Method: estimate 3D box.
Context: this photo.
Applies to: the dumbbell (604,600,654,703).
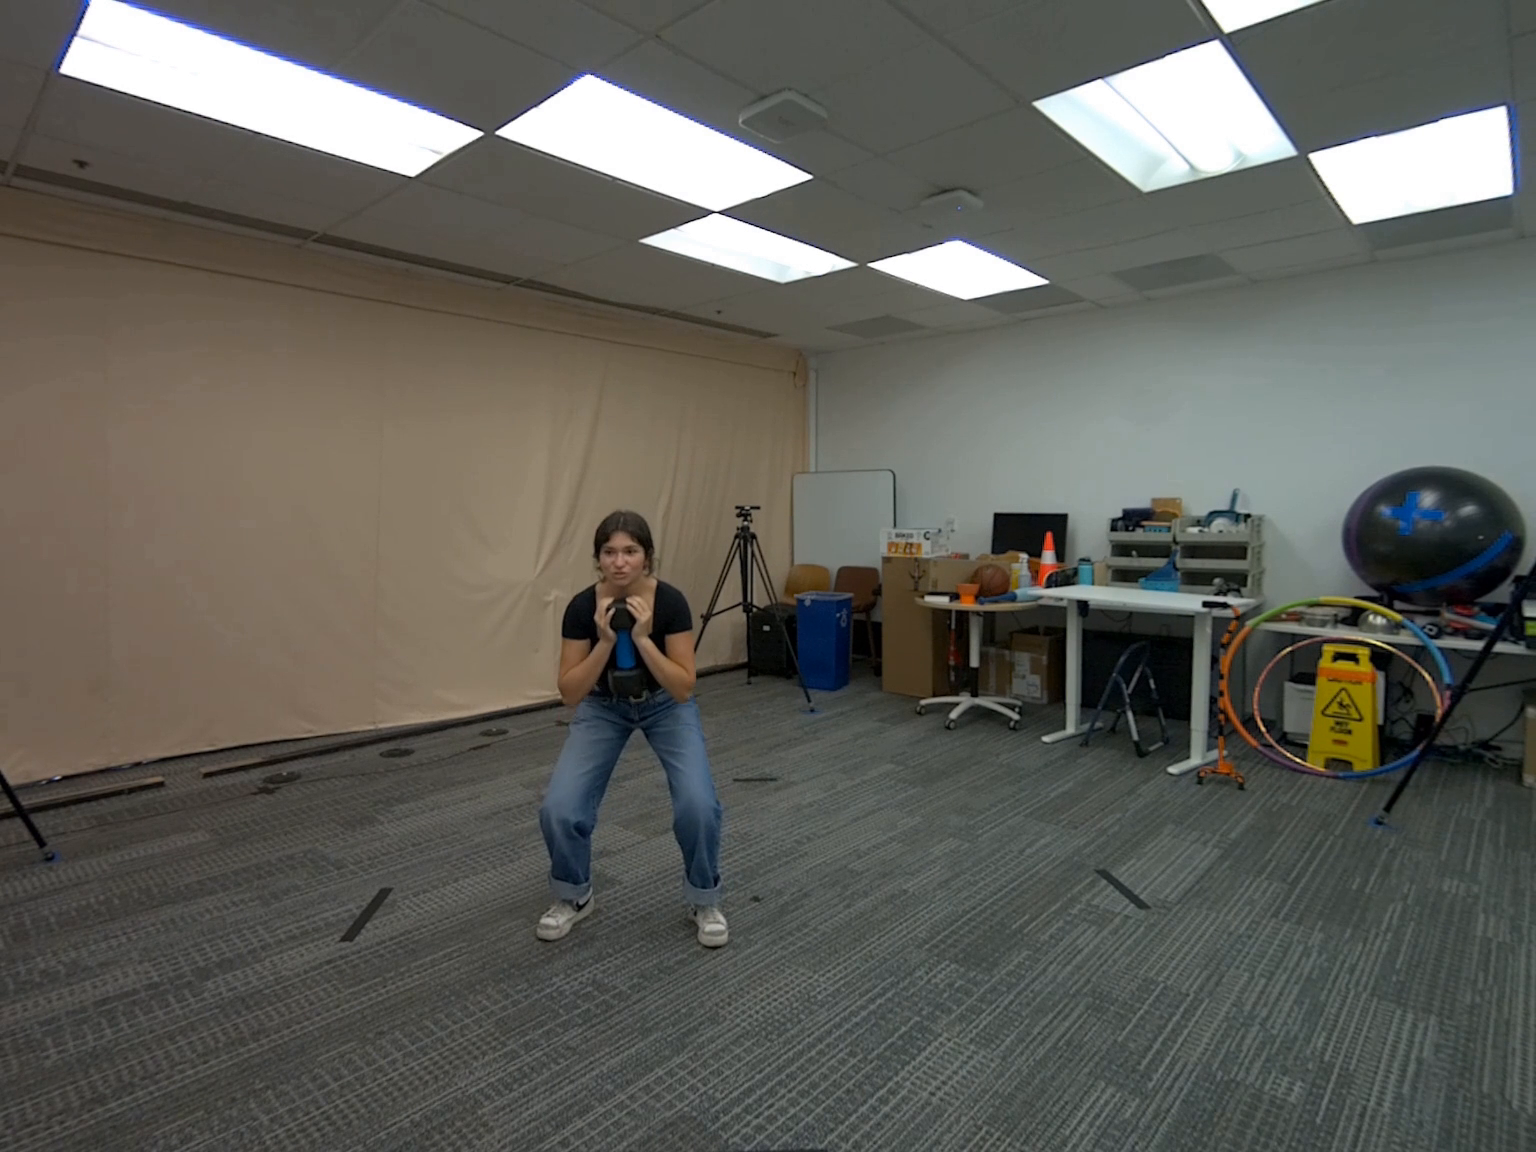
[{"bbox_3d":[-0.444,0.227,2.633,0.111,0.291,0.121,6,17,24],"label":"dumbbell"}]
